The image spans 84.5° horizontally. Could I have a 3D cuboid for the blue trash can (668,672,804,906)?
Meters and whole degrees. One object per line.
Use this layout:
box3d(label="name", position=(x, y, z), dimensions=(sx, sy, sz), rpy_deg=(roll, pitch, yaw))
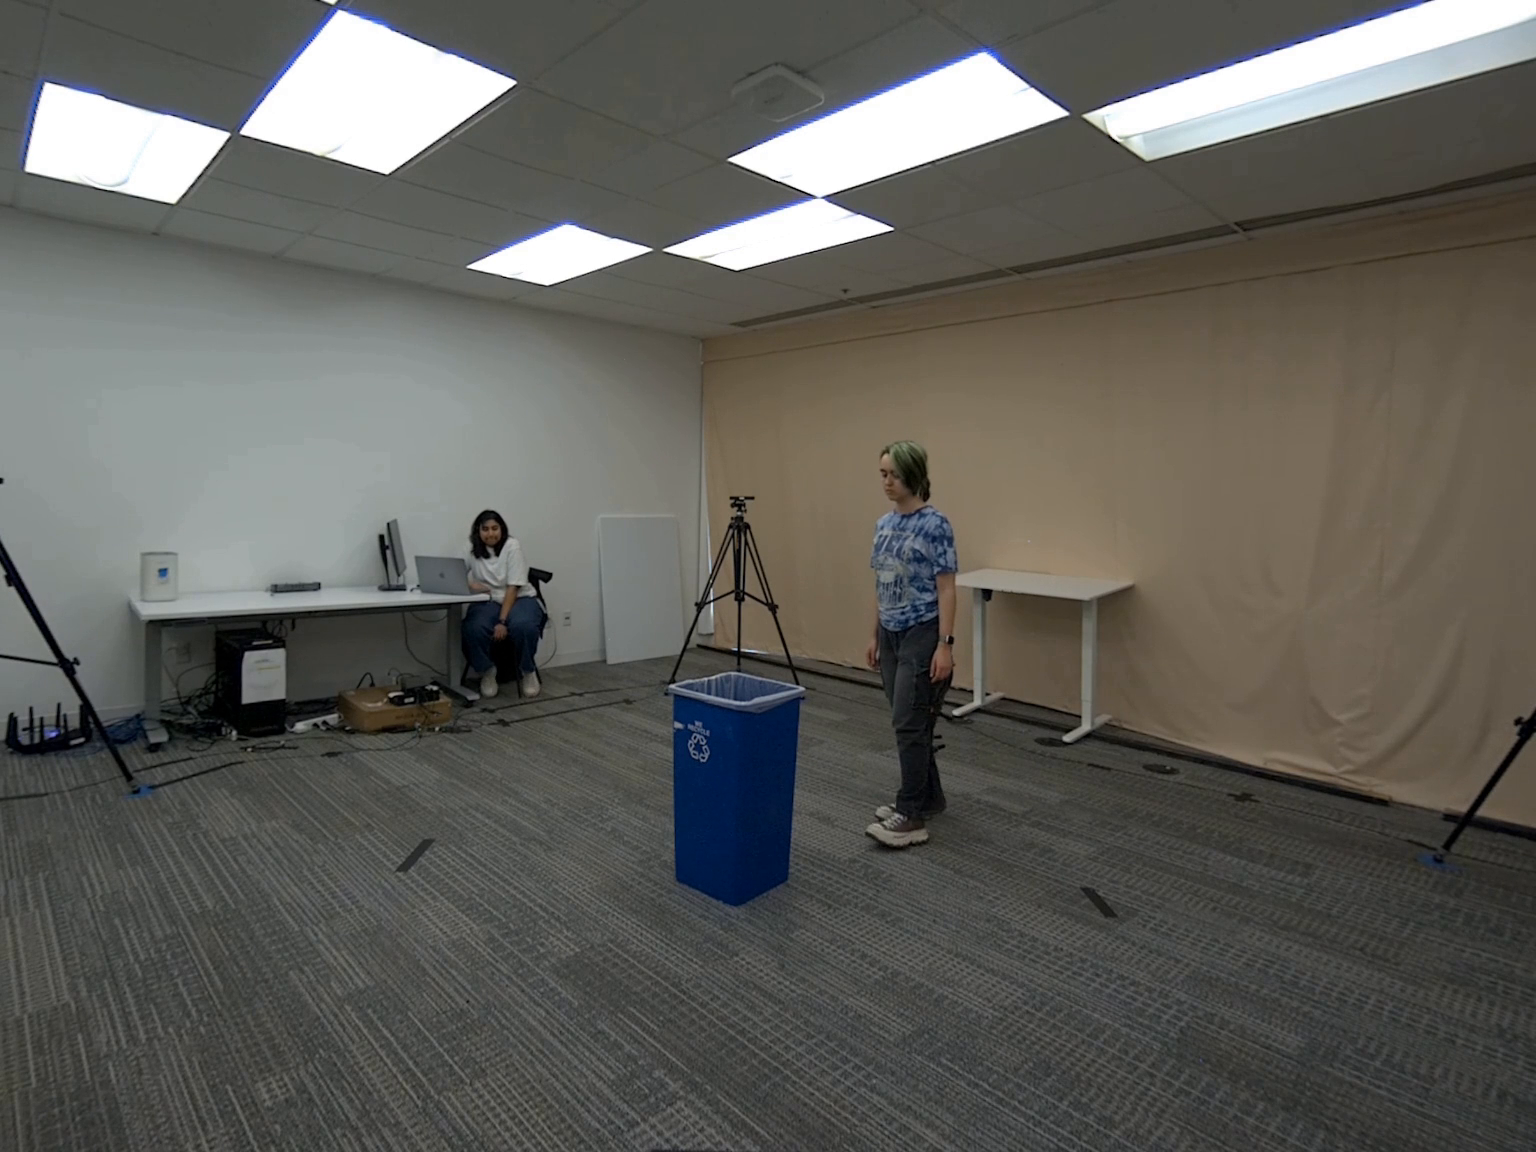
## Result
box3d(label="blue trash can", position=(-0.121, 0.752, 3.045), dimensions=(0.383, 0.712, 0.369), rpy_deg=(4, 5, 40))
